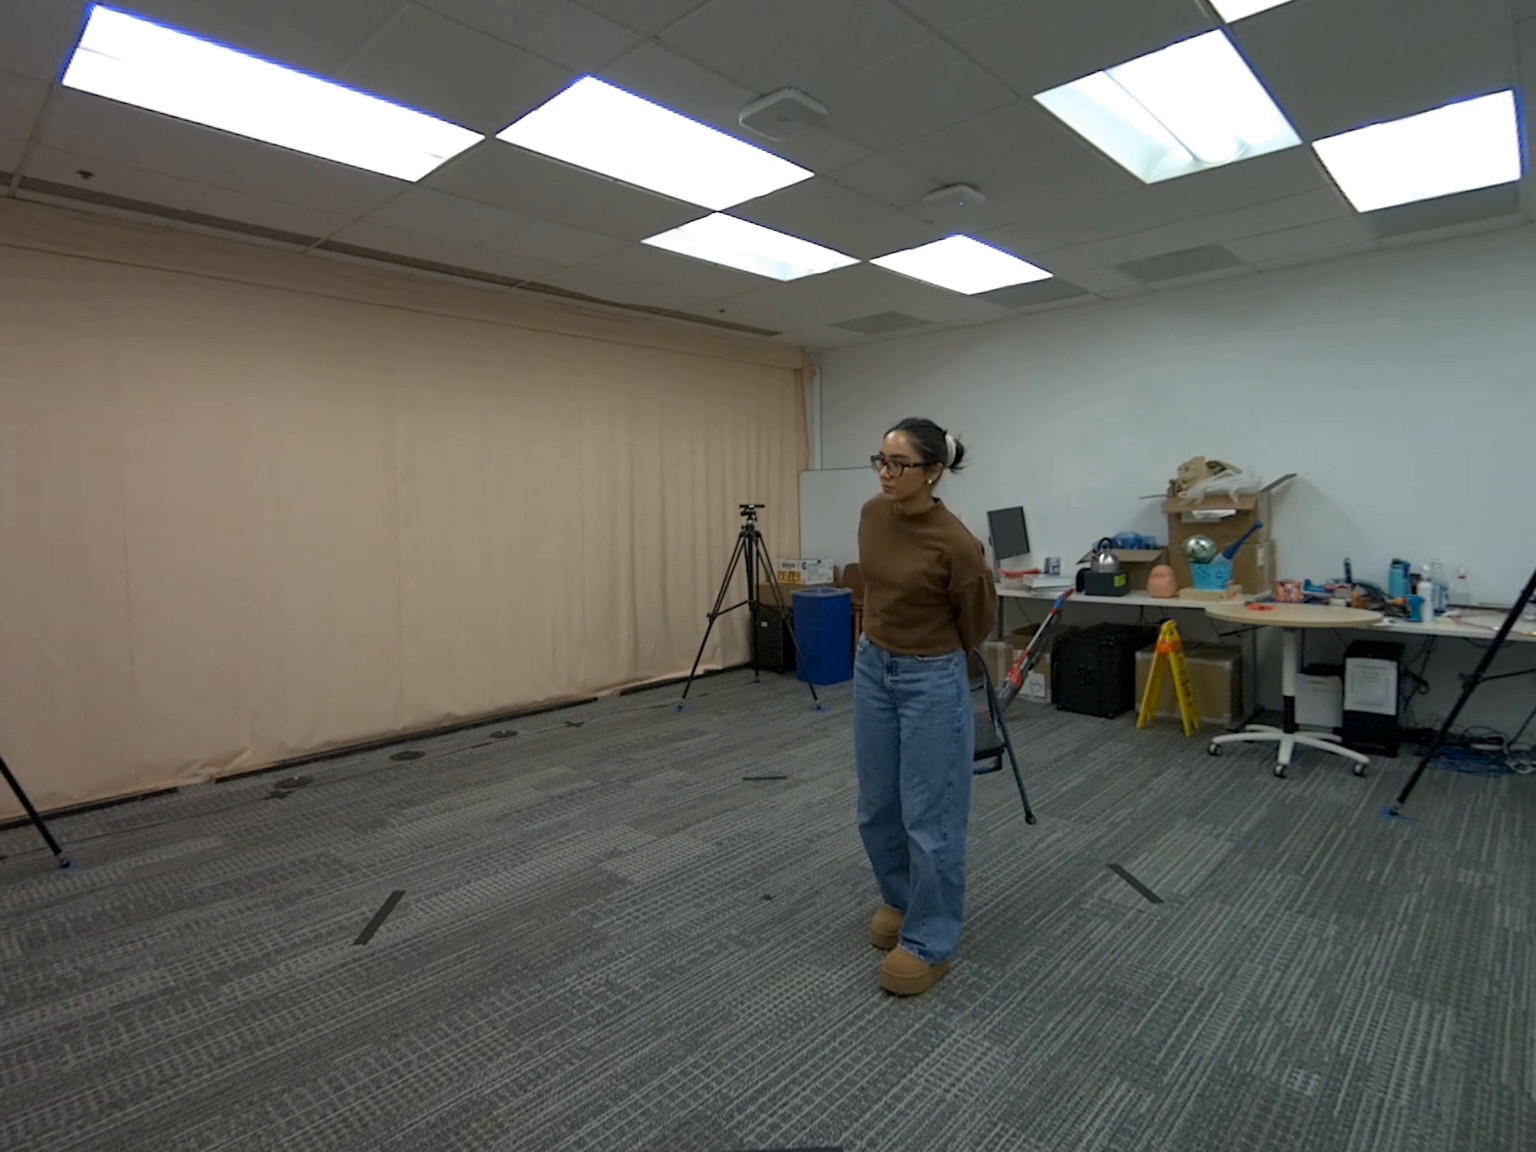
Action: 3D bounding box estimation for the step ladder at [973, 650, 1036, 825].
[{"bbox_3d":[0.597,0.531,2.846,0.432,0.598,0.353,-14,16,2],"label":"step ladder"}]
